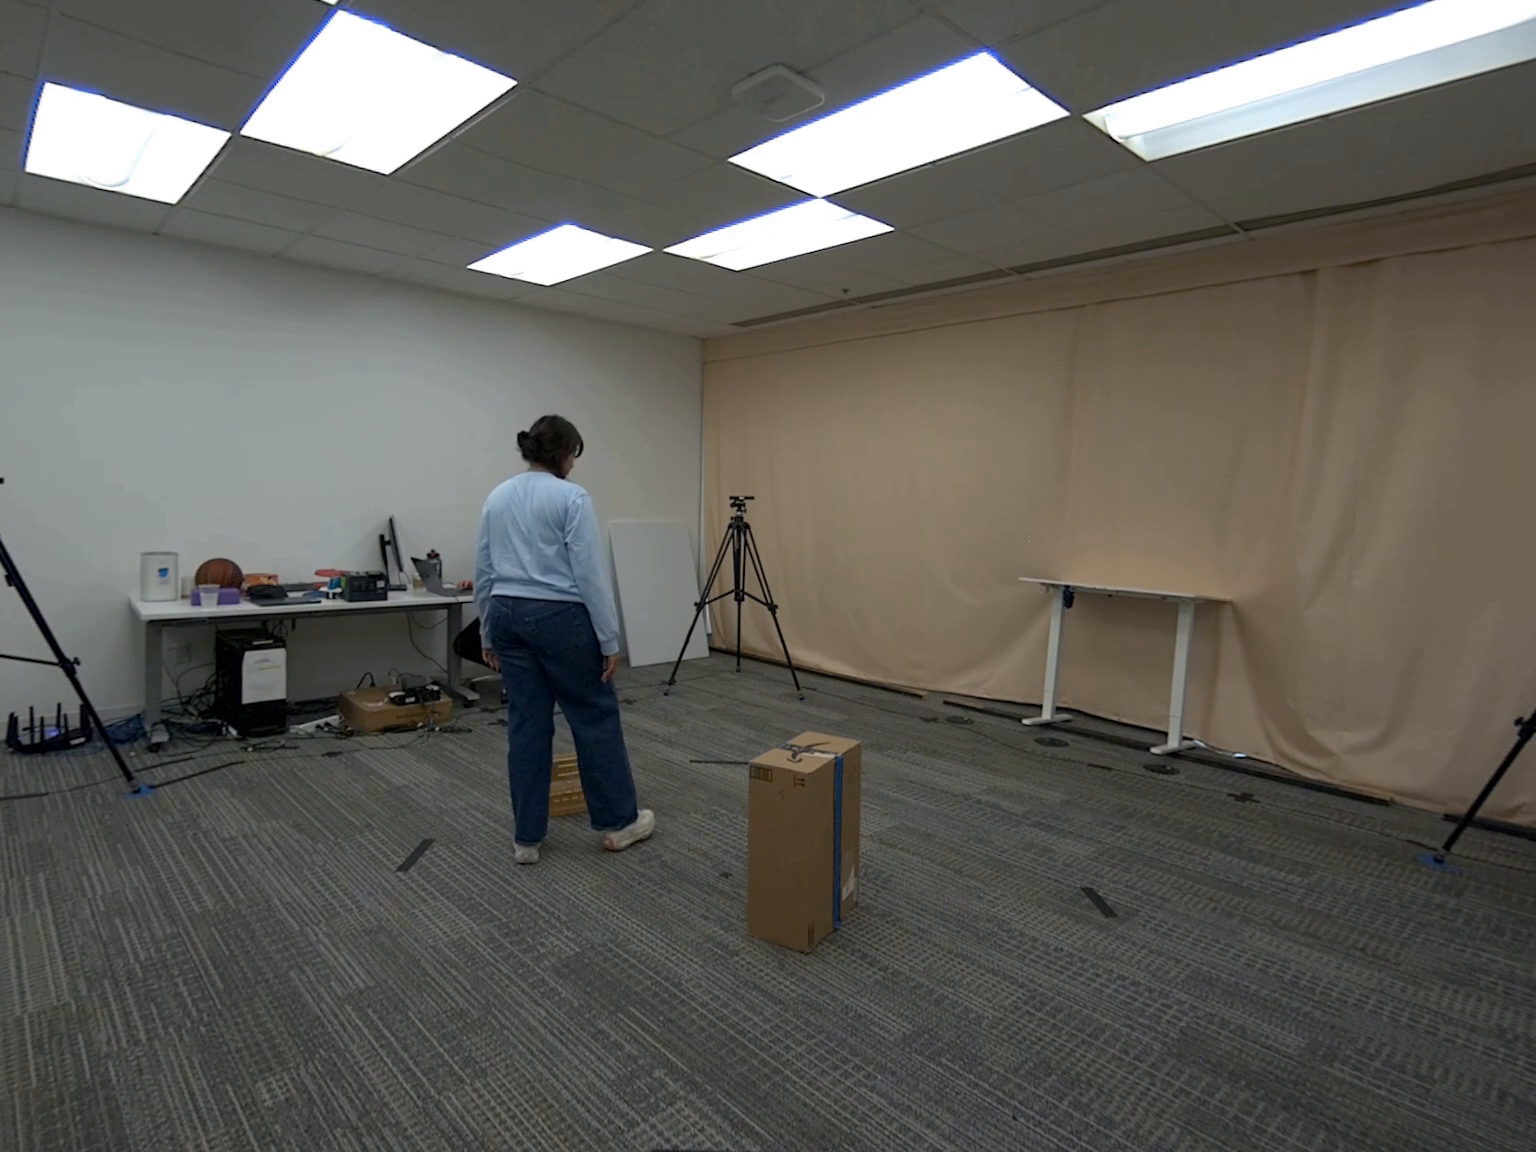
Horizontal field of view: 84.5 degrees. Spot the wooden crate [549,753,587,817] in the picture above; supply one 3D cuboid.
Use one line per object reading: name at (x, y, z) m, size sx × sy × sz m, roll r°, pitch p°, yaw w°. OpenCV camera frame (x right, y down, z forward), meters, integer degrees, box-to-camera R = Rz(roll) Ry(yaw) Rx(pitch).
wooden crate at (-0.895, 0.903, 3.768) m, size 0.318 × 0.272 × 0.309 m, roll -1°, pitch 6°, yaw -31°
